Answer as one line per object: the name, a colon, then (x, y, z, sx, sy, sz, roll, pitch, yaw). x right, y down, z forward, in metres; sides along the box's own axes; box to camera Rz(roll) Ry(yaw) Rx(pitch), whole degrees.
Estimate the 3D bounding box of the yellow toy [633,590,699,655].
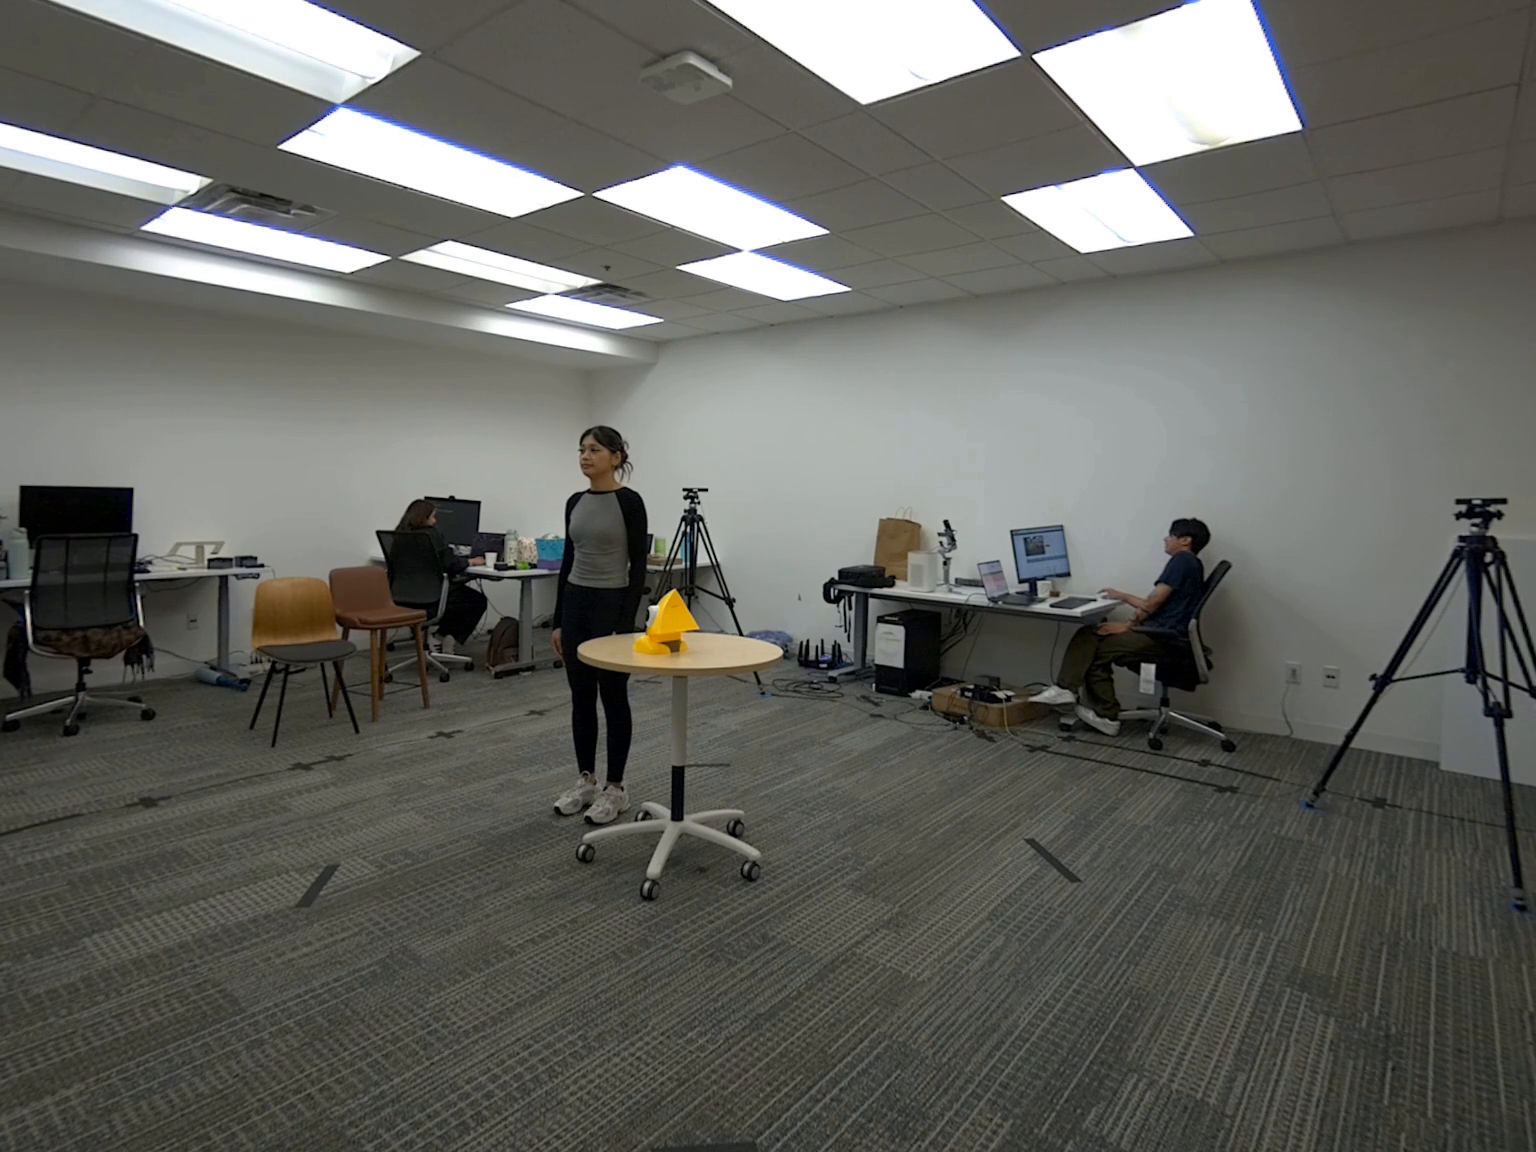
yellow toy: (-0.399, 0.156, 3.143, 0.199, 0.230, 0.198, 3, 3, 41)
